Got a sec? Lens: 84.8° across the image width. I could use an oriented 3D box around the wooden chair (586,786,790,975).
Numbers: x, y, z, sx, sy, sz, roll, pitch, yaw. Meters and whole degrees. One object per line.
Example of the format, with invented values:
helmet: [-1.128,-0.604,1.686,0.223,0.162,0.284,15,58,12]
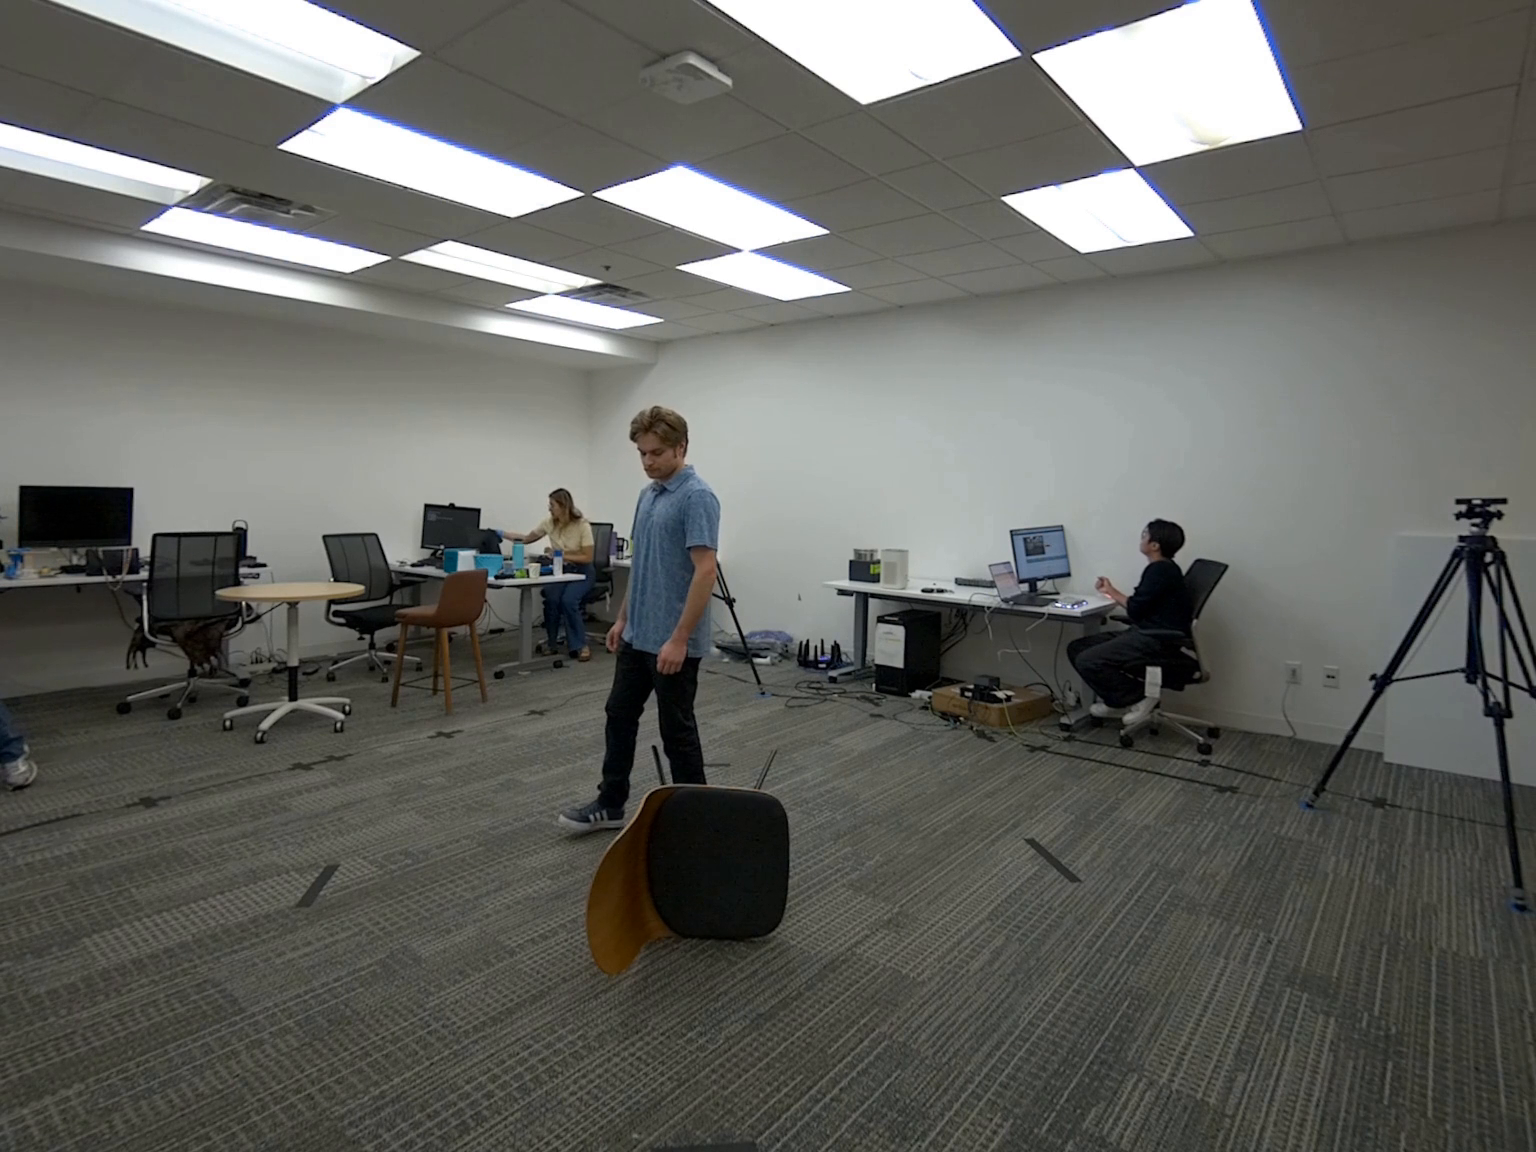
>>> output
wooden chair: [-0.199,0.884,2.668,0.527,0.477,0.873,2,4,5]
